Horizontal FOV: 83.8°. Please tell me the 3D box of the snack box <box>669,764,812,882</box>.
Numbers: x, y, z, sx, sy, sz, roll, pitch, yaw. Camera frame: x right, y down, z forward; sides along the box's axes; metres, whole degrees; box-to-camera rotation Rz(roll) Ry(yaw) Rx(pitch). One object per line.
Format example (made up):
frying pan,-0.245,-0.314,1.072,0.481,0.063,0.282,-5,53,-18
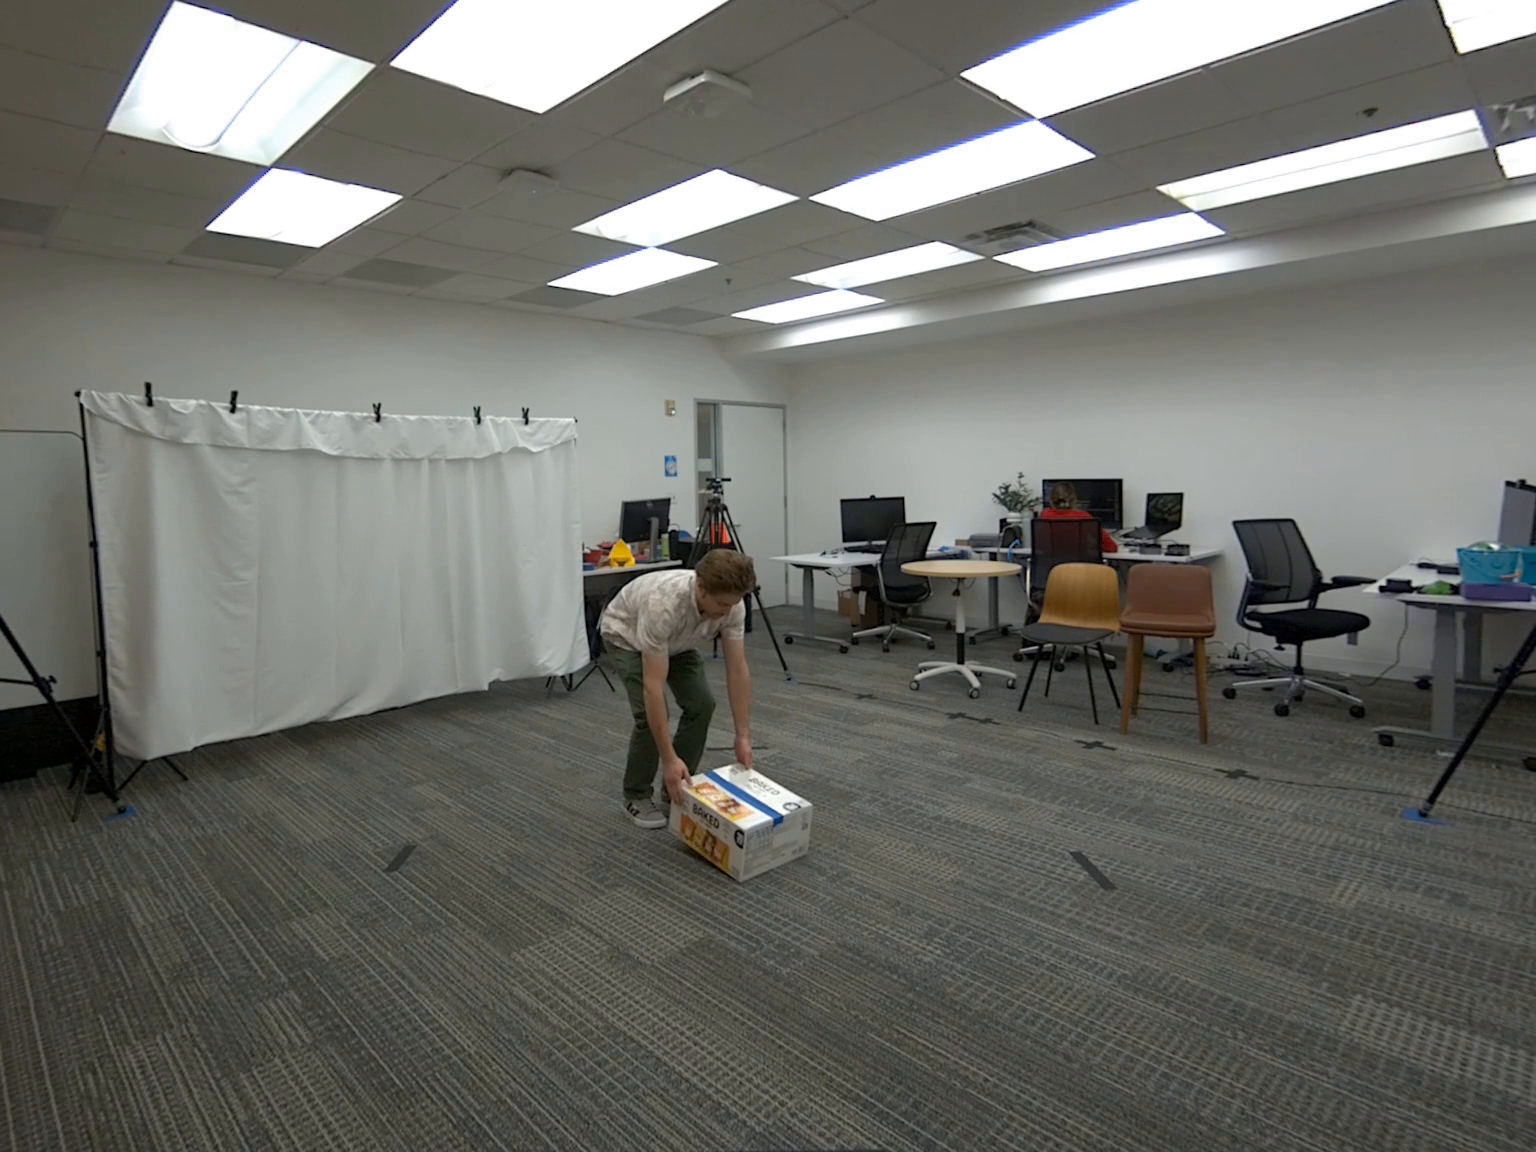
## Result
snack box,-0.104,0.905,3.181,0.331,0.204,0.420,-6,16,-42
